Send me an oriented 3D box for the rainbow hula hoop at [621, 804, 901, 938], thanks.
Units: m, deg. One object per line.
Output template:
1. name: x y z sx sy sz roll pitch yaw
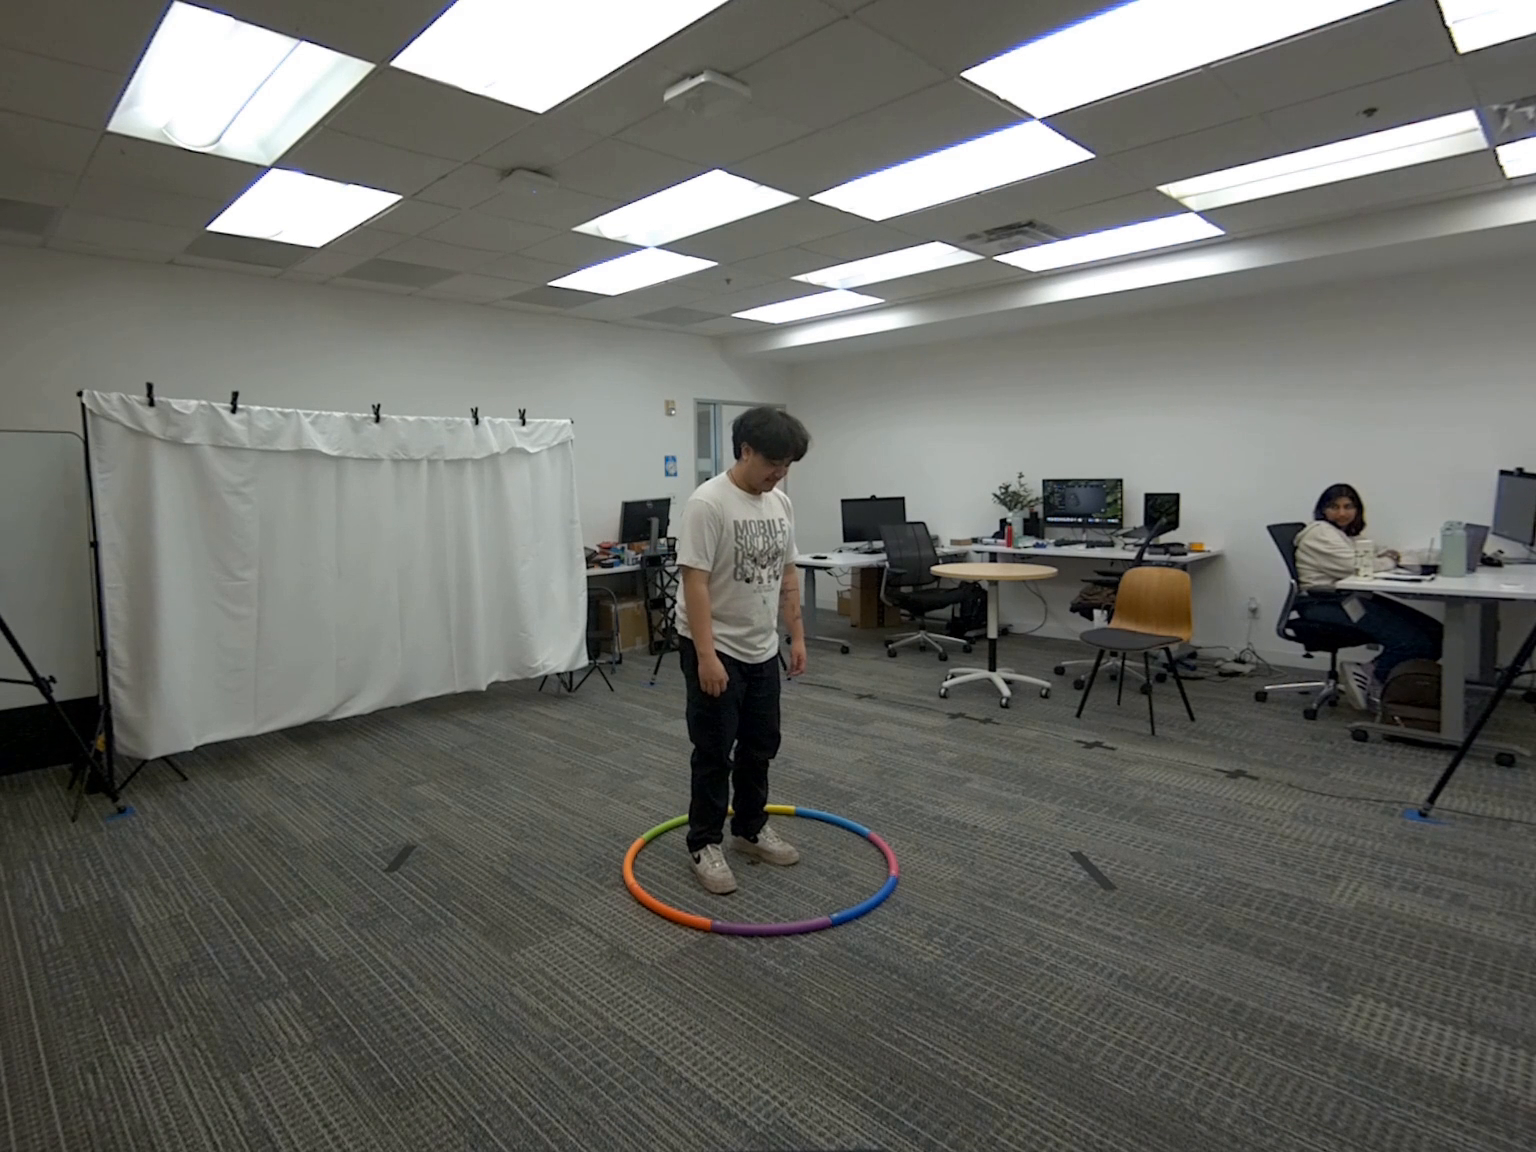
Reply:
1. rainbow hula hoop: -0.027 1.020 3.091 0.985 0.051 0.991 -1 6 -2
